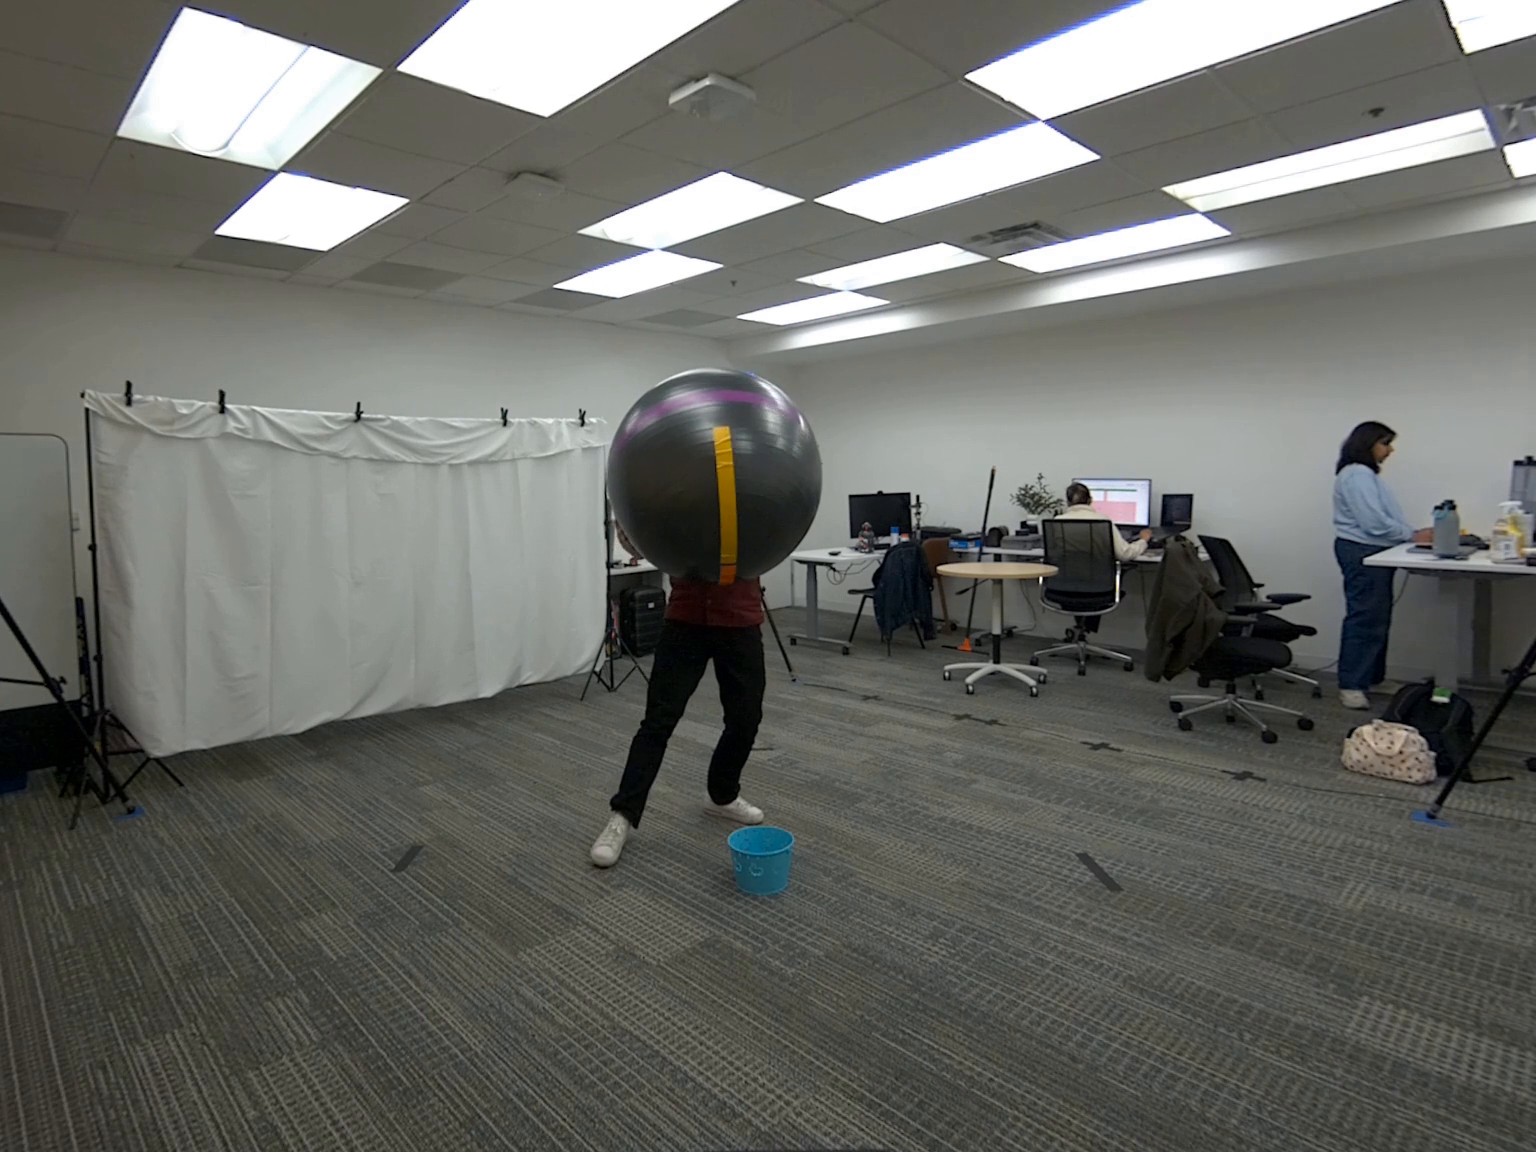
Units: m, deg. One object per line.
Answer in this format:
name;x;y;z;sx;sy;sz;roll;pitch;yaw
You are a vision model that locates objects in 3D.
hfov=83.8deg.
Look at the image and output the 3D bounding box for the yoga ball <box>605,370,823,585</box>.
yoga ball;-0.194;-0.350;3.003;0.757;0.755;0.762;-1;5;-2
